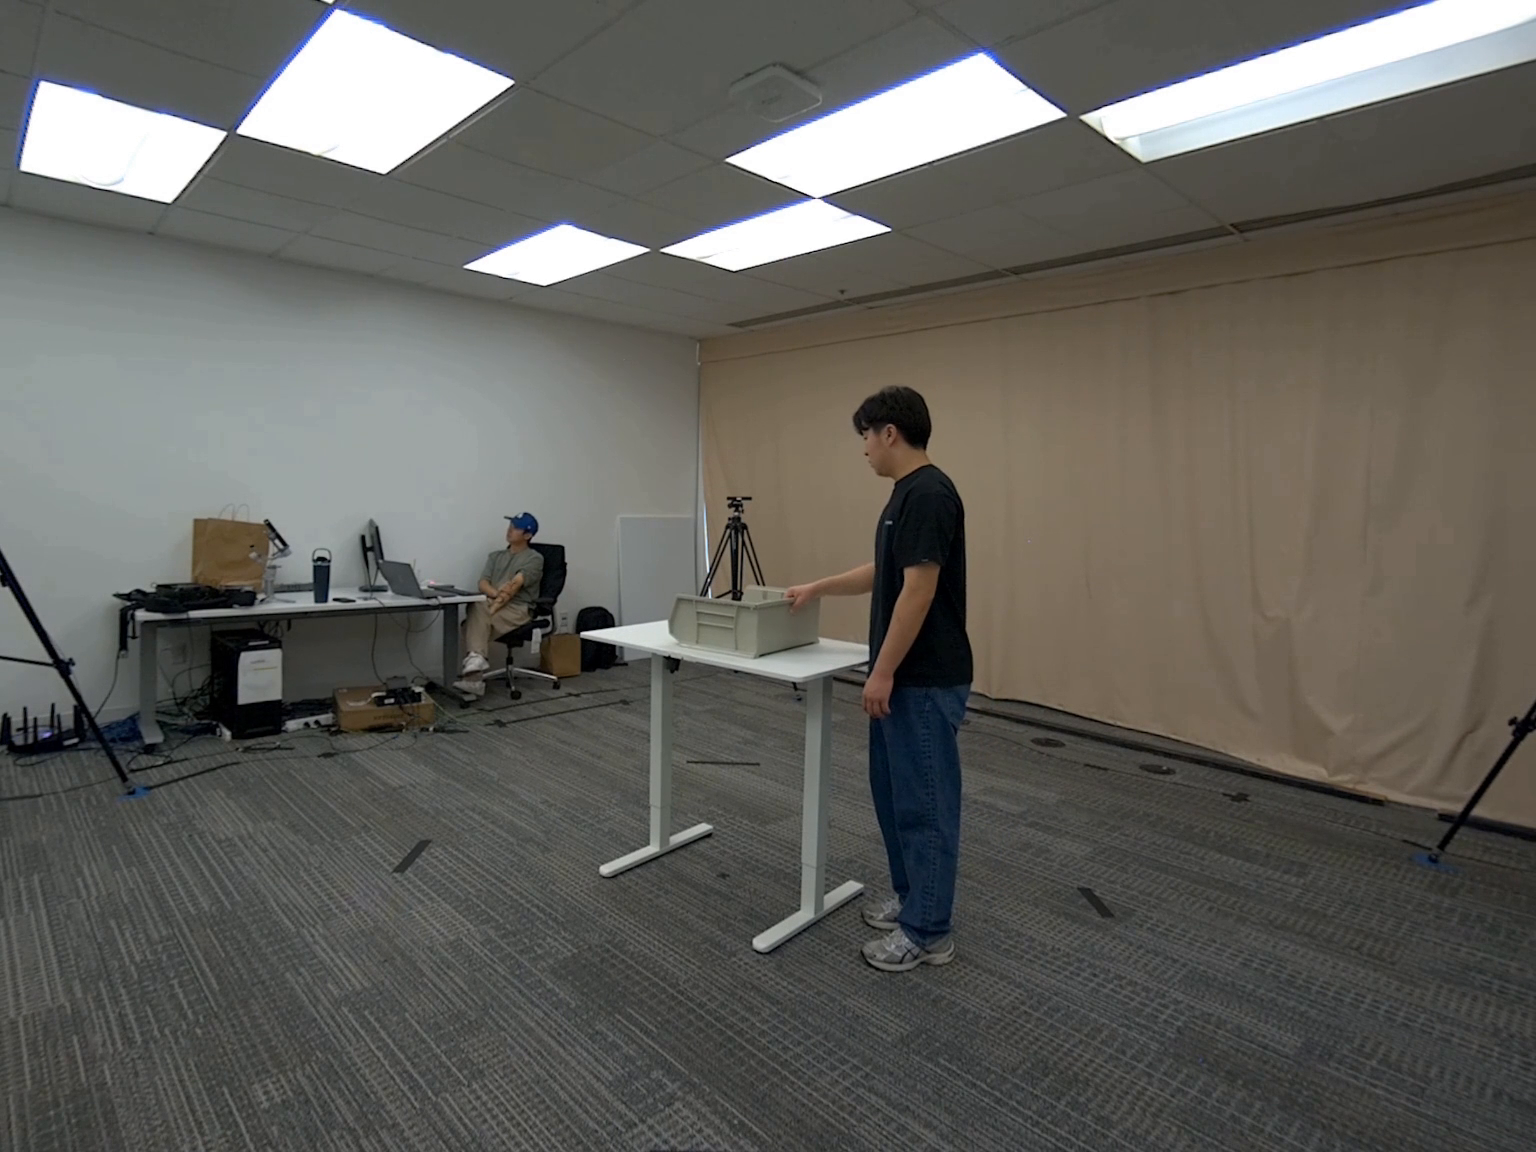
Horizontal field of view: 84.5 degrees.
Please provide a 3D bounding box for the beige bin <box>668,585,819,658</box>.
[{"bbox_3d":[-0.075,0.154,2.943,0.387,0.188,0.413,6,7,35],"label":"beige bin"}]
